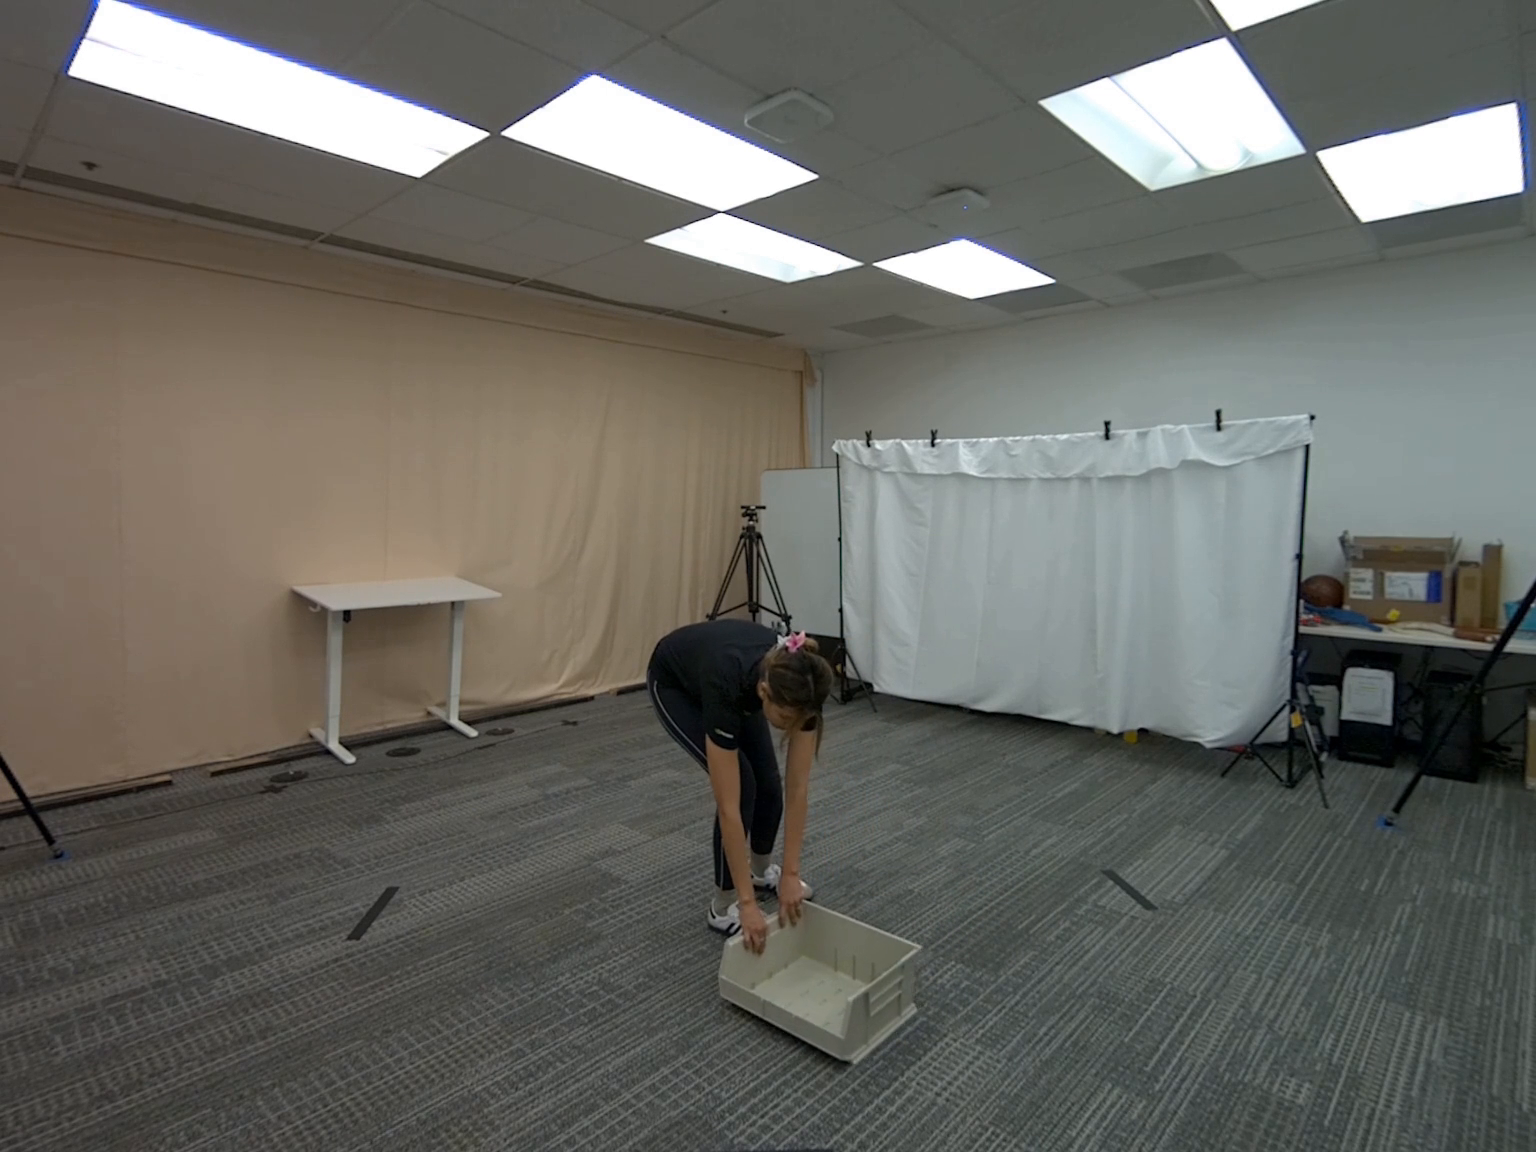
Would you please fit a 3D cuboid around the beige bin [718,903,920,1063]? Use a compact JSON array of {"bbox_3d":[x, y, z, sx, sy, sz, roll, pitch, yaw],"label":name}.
[{"bbox_3d":[0.150,1.110,2.326,0.436,0.189,0.366,3,4,41],"label":"beige bin"}]
